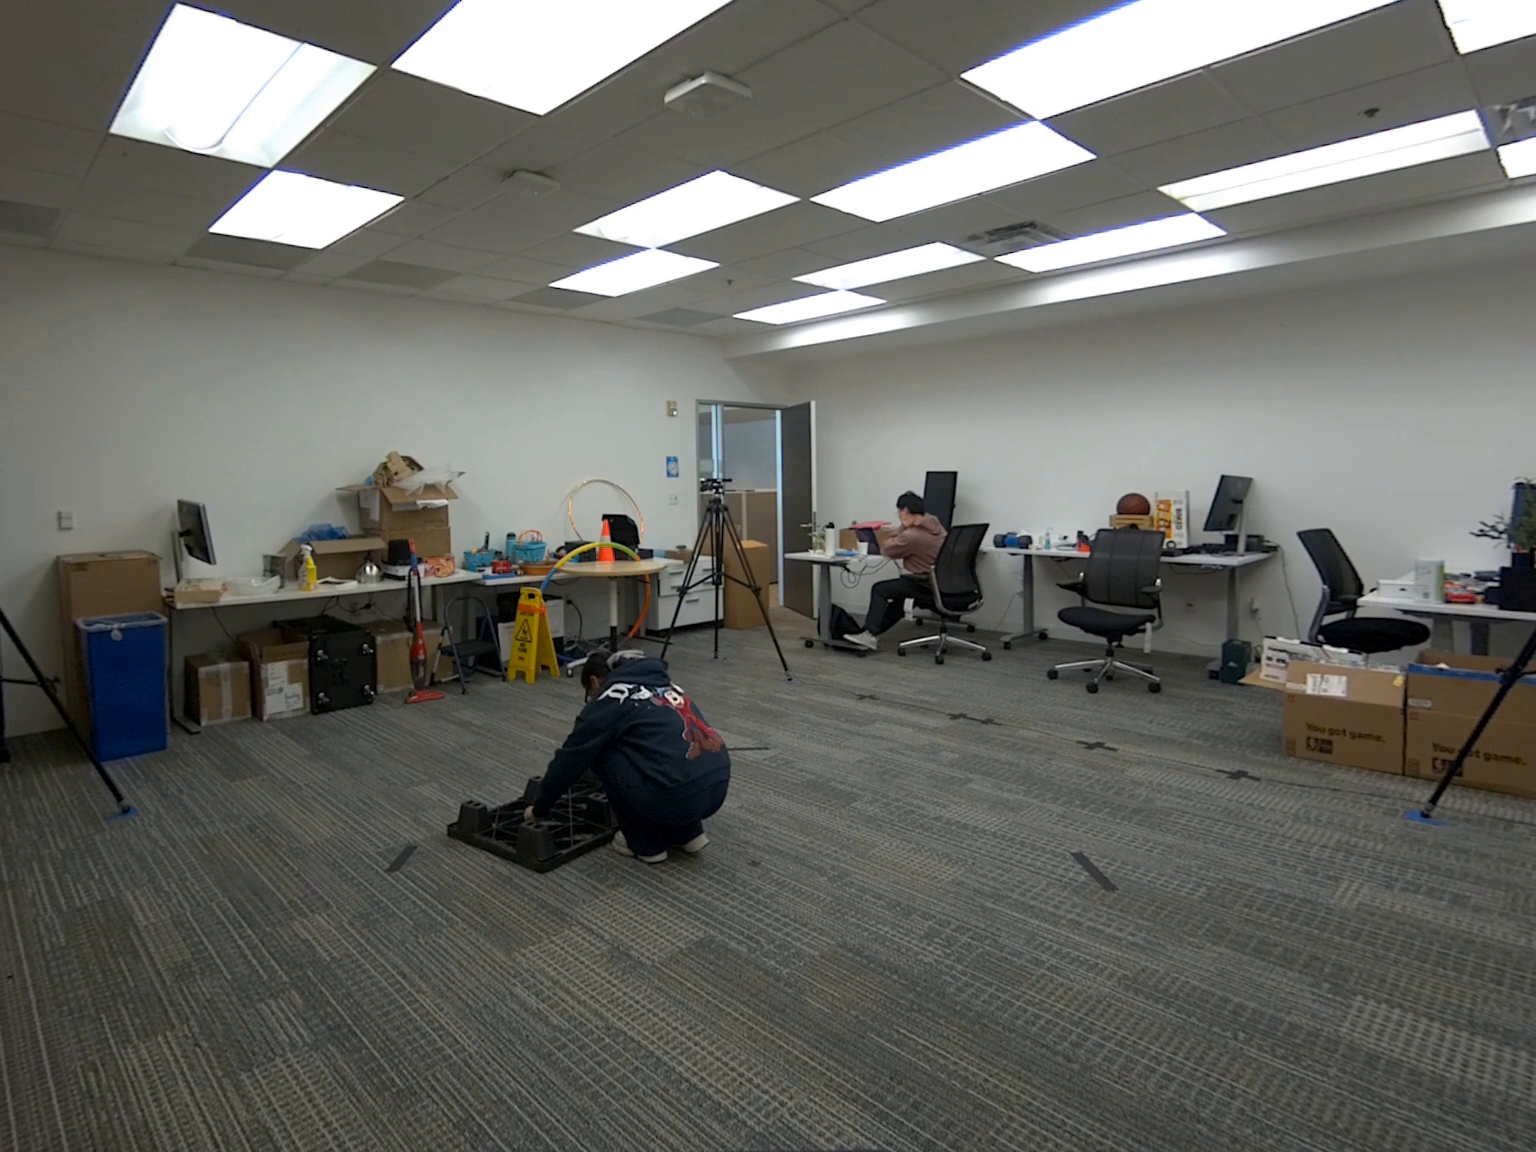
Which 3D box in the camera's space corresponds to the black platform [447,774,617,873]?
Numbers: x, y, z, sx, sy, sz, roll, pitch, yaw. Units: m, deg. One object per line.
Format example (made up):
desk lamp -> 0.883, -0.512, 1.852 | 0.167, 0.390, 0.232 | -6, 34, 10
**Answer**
black platform -> -0.819, 0.949, 3.539 | 0.623, 0.143, 0.786 | 3, 8, 36
